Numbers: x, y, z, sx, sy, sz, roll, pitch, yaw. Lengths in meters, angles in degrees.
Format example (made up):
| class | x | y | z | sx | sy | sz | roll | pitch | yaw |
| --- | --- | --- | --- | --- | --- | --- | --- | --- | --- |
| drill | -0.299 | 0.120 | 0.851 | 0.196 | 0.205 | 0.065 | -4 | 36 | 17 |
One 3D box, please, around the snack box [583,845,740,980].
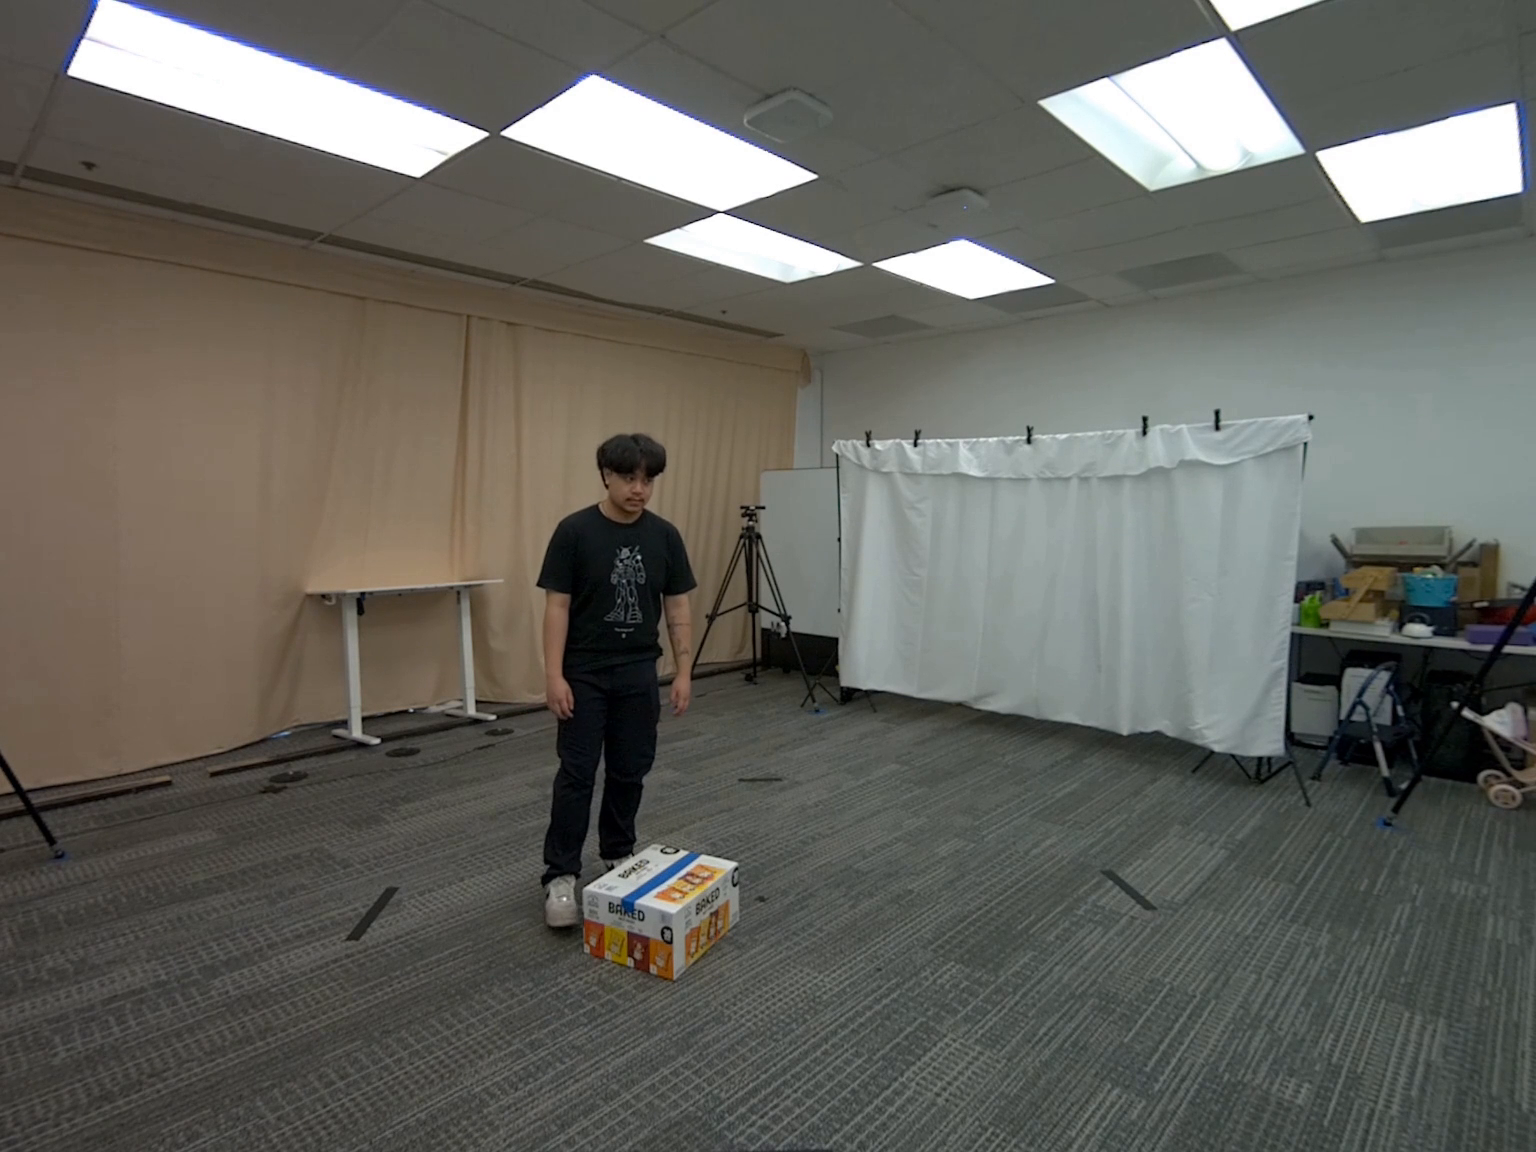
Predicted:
| class | x | y | z | sx | sy | sz | roll | pitch | yaw |
| --- | --- | --- | --- | --- | --- | --- | --- | --- | --- |
| snack box | -0.335 | 1.066 | 2.713 | 0.350 | 0.205 | 0.395 | 2 | 5 | 28 |
